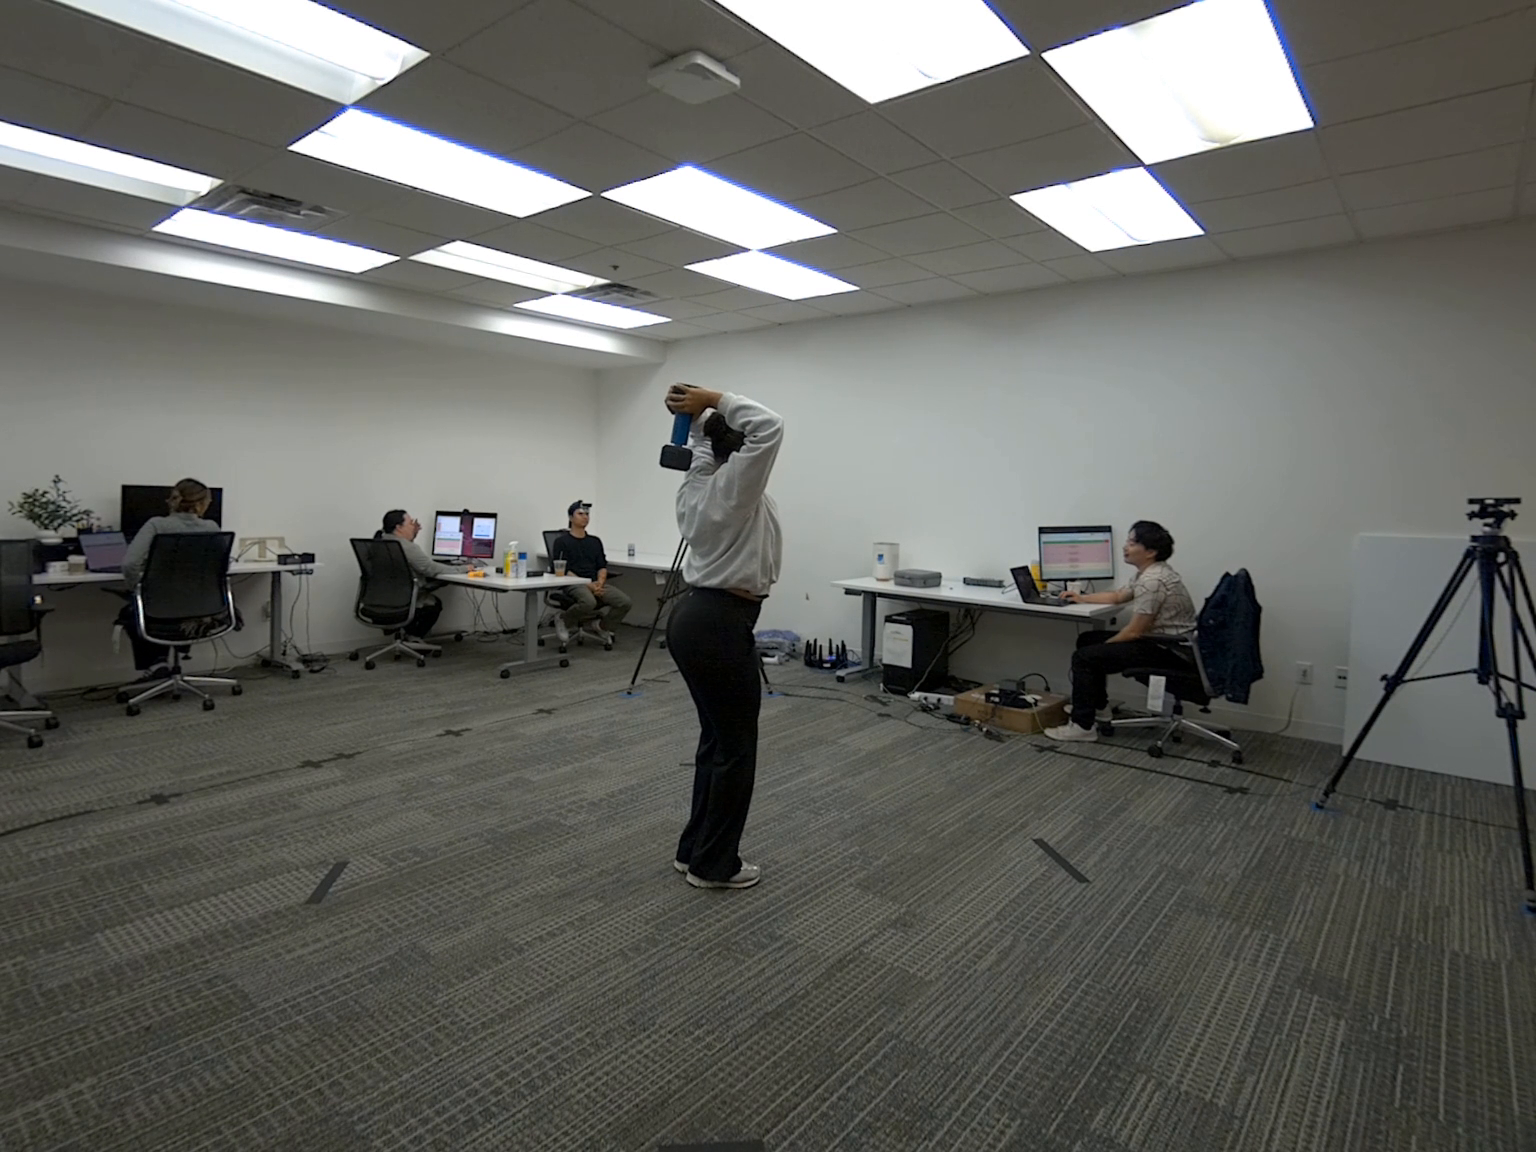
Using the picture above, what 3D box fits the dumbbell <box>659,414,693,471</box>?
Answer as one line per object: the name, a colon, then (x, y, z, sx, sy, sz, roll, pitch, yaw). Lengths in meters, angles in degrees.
dumbbell: (-0.305, -0.522, 2.937, 0.126, 0.293, 0.106, 10, 3, 23)
